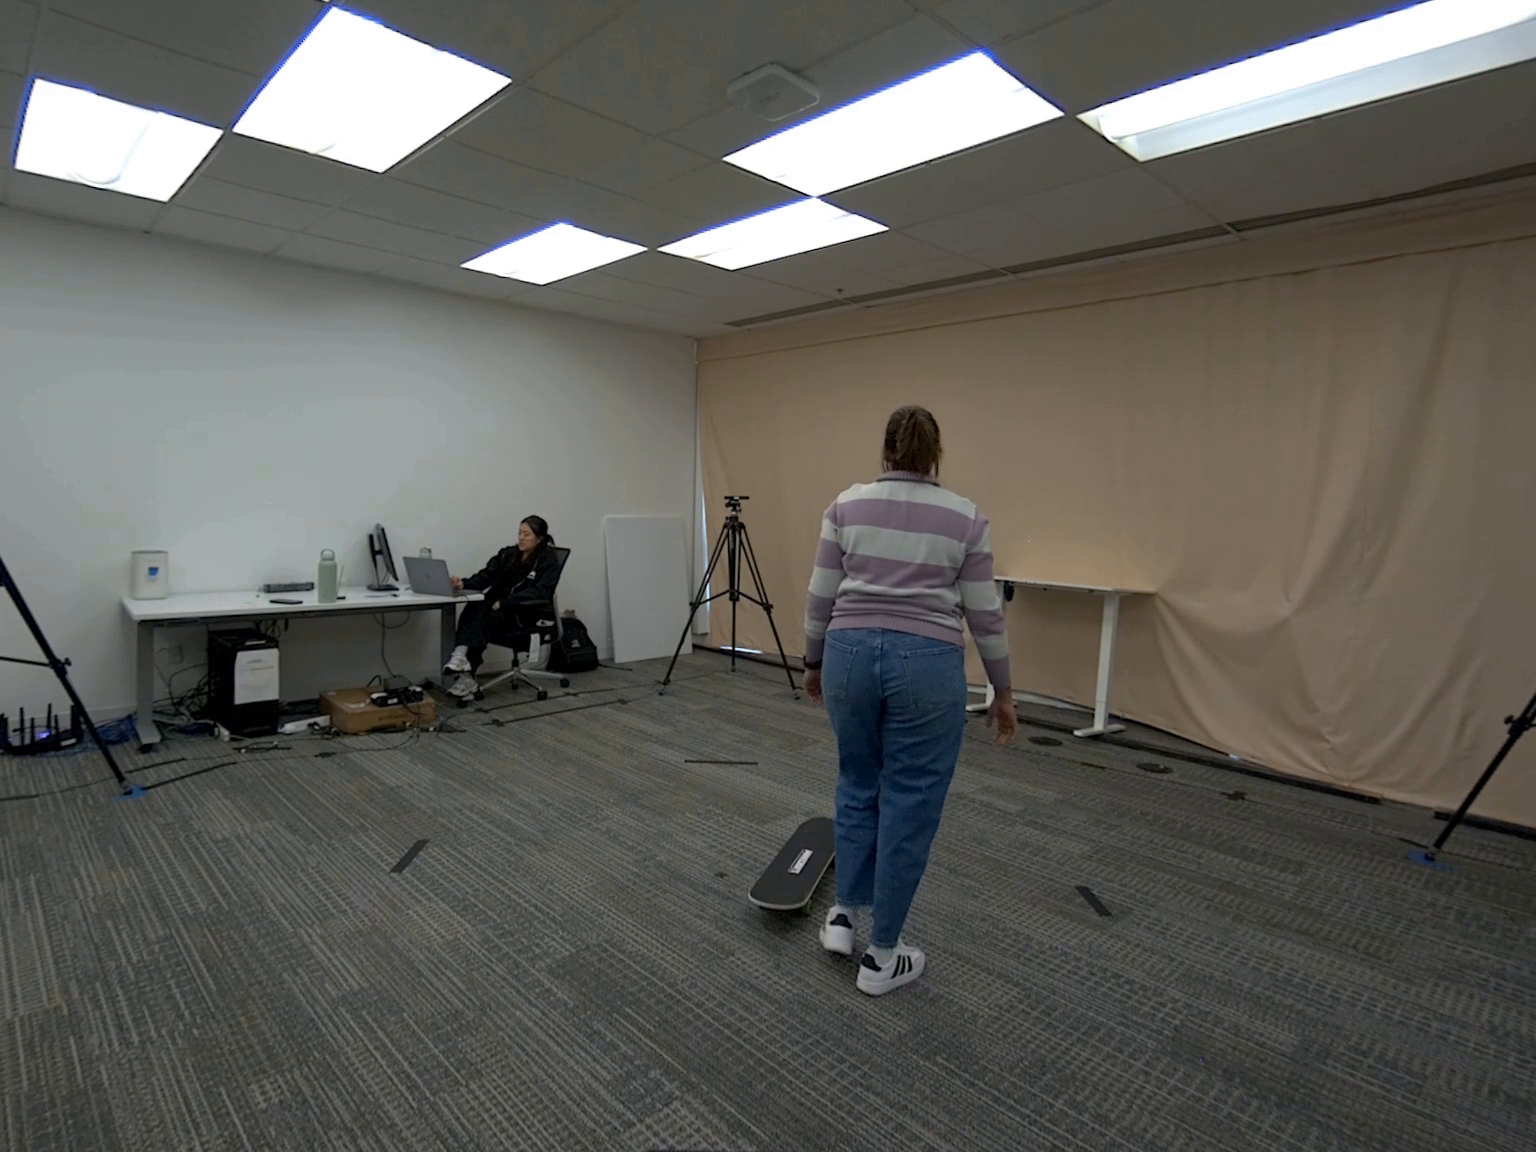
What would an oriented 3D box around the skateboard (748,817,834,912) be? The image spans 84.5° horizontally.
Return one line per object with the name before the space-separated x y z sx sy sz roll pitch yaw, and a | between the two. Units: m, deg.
skateboard | 0.112 1.058 3.031 0.196 0.110 0.776 2 5 17
